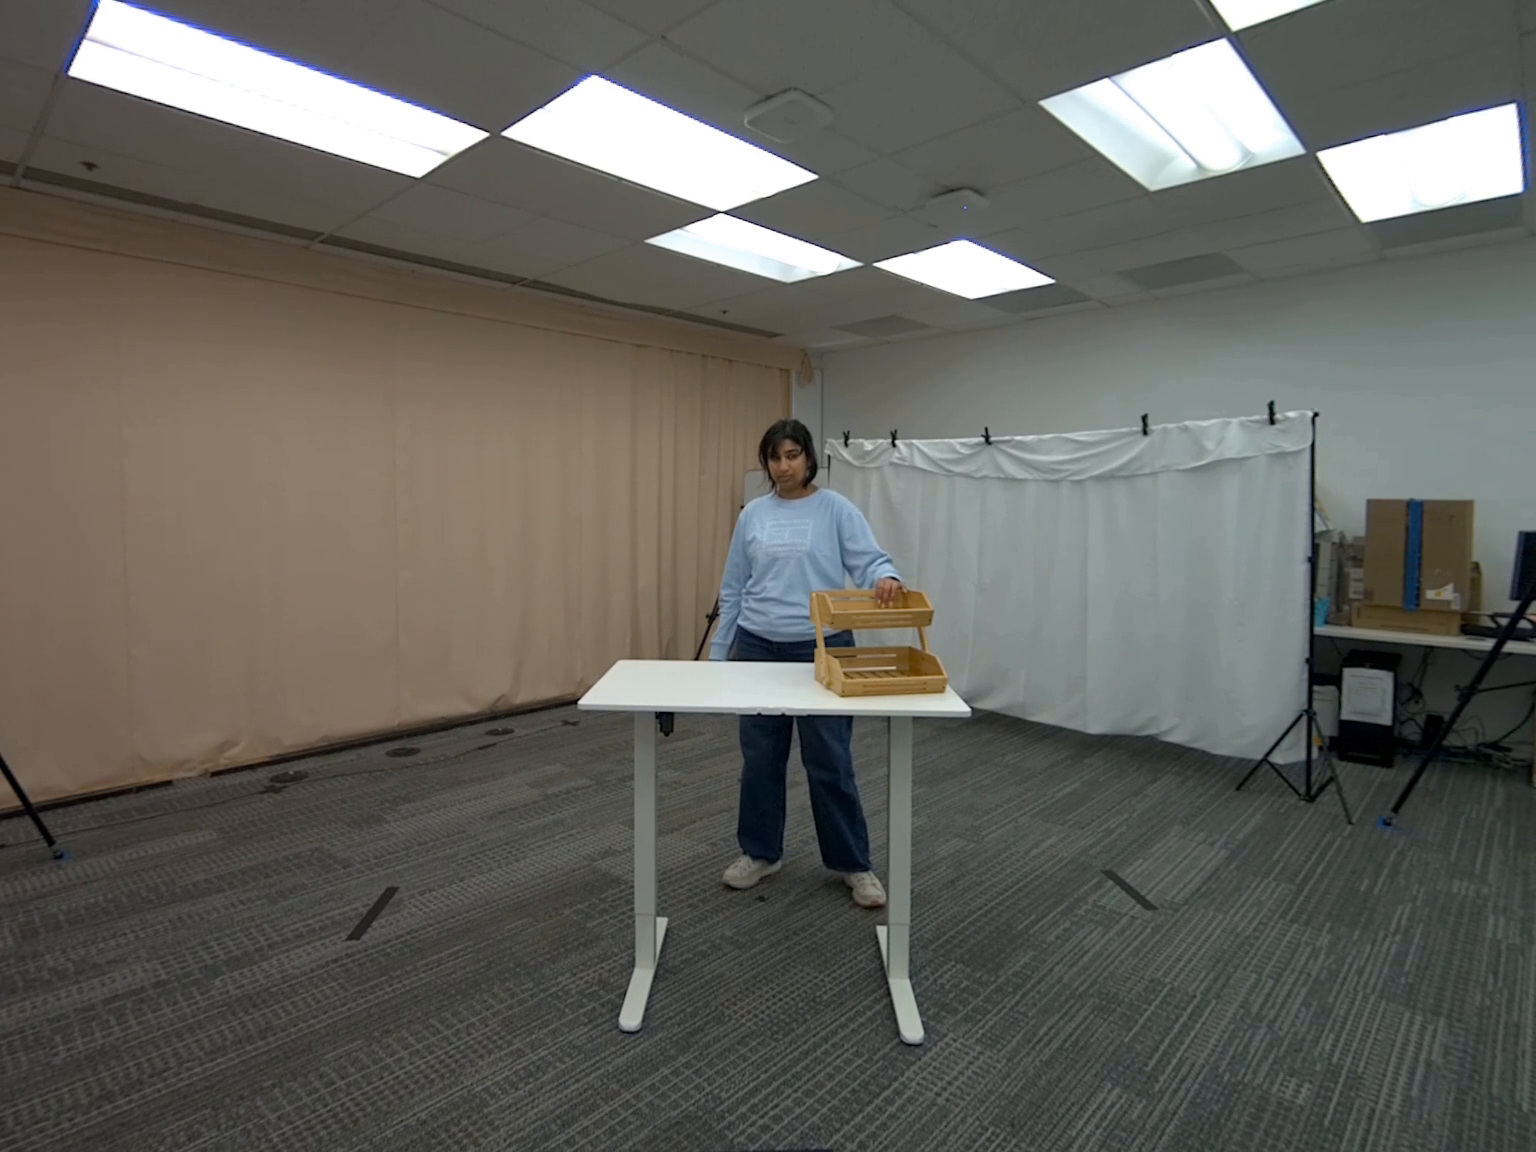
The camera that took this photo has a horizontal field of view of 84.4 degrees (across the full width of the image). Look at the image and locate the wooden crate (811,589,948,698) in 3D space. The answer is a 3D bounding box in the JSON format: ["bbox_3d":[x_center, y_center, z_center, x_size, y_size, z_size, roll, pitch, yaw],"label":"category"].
[{"bbox_3d":[0.312,0.179,2.400,0.320,0.273,0.306,-1,4,-13],"label":"wooden crate"}]
